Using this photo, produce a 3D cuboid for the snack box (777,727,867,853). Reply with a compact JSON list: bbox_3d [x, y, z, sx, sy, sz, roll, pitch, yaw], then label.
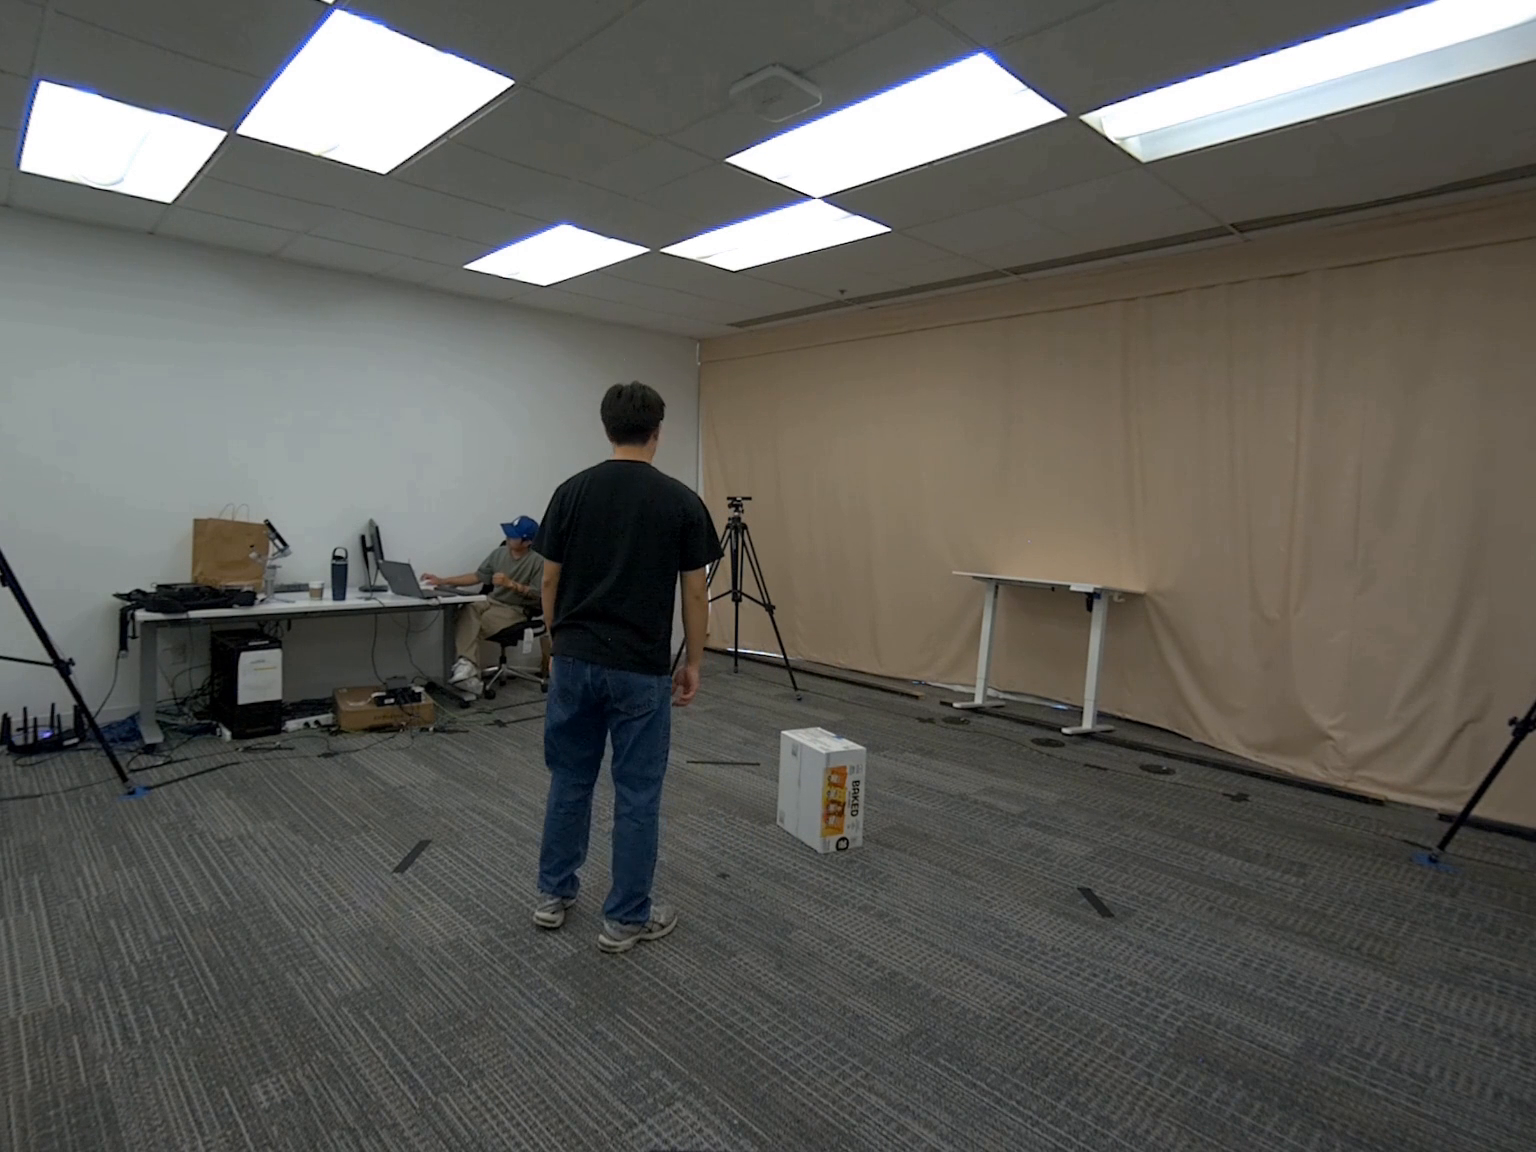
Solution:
[{"bbox_3d":[0.215,0.876,3.495,0.201,0.404,0.348,0,4,-30],"label":"snack box"}]
